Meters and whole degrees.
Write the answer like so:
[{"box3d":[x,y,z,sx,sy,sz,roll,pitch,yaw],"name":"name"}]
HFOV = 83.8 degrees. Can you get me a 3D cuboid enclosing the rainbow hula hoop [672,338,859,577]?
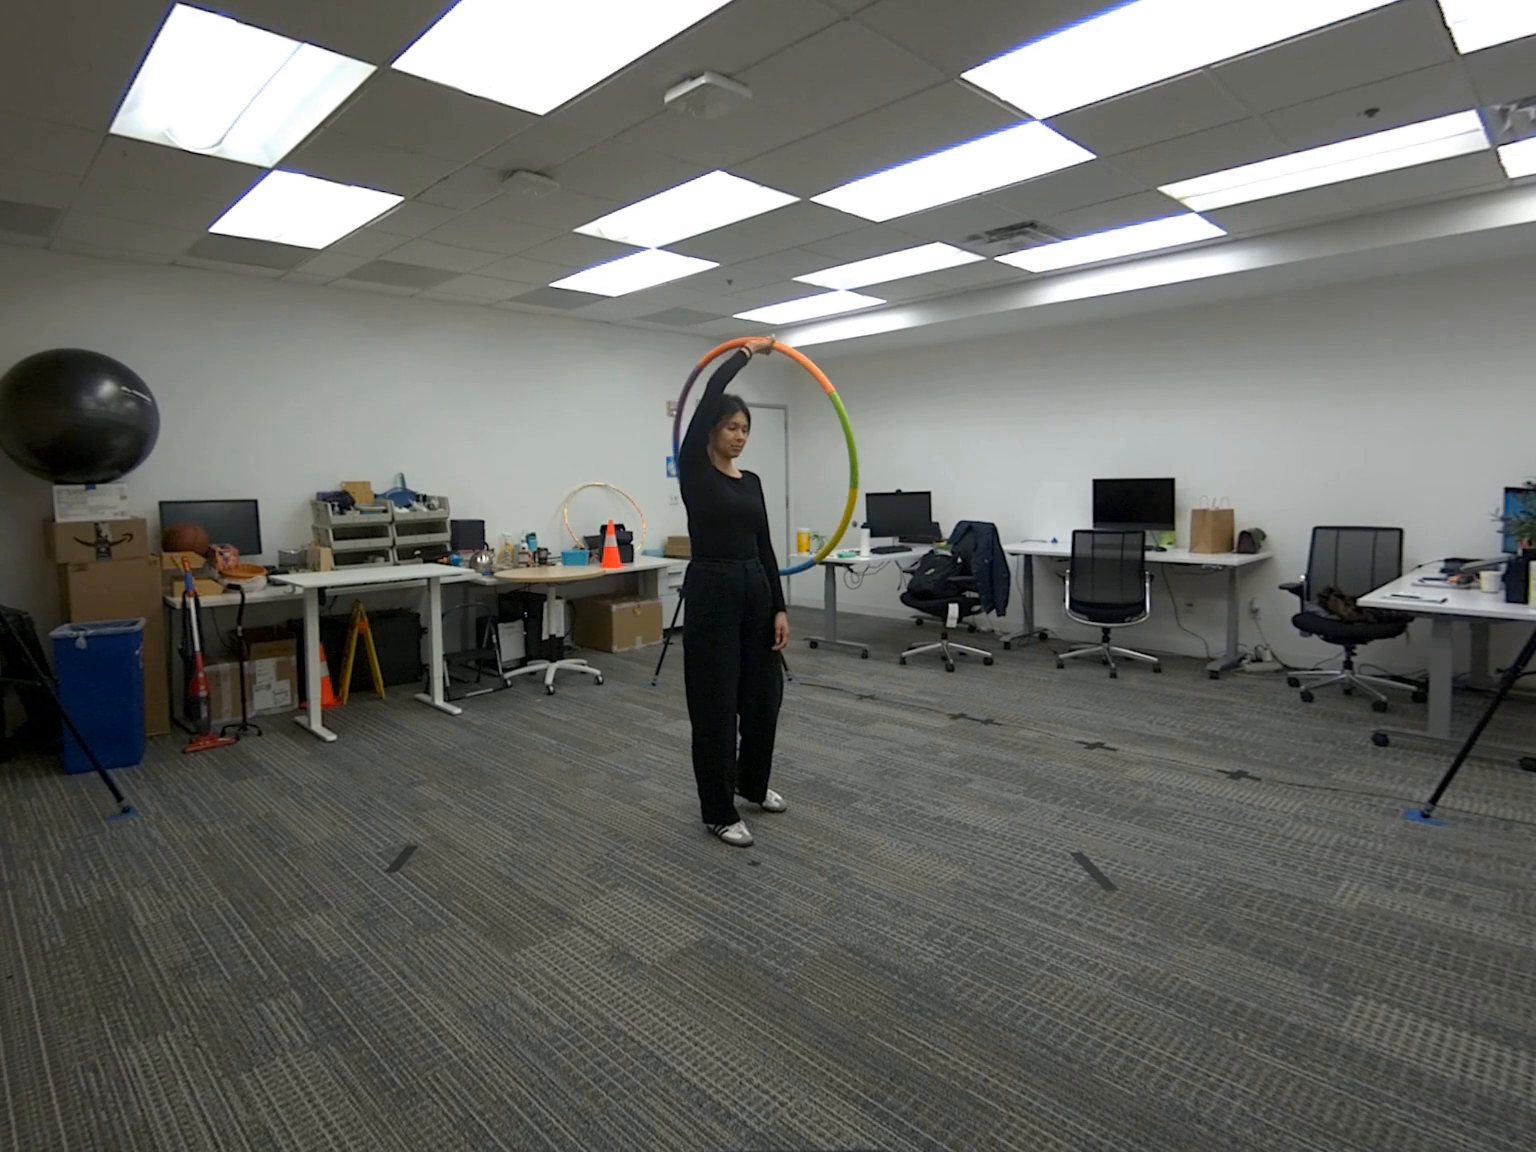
[{"box3d":[-0.048,-0.482,3.540,1.015,0.974,0.050,4,15,42],"name":"rainbow hula hoop"}]
